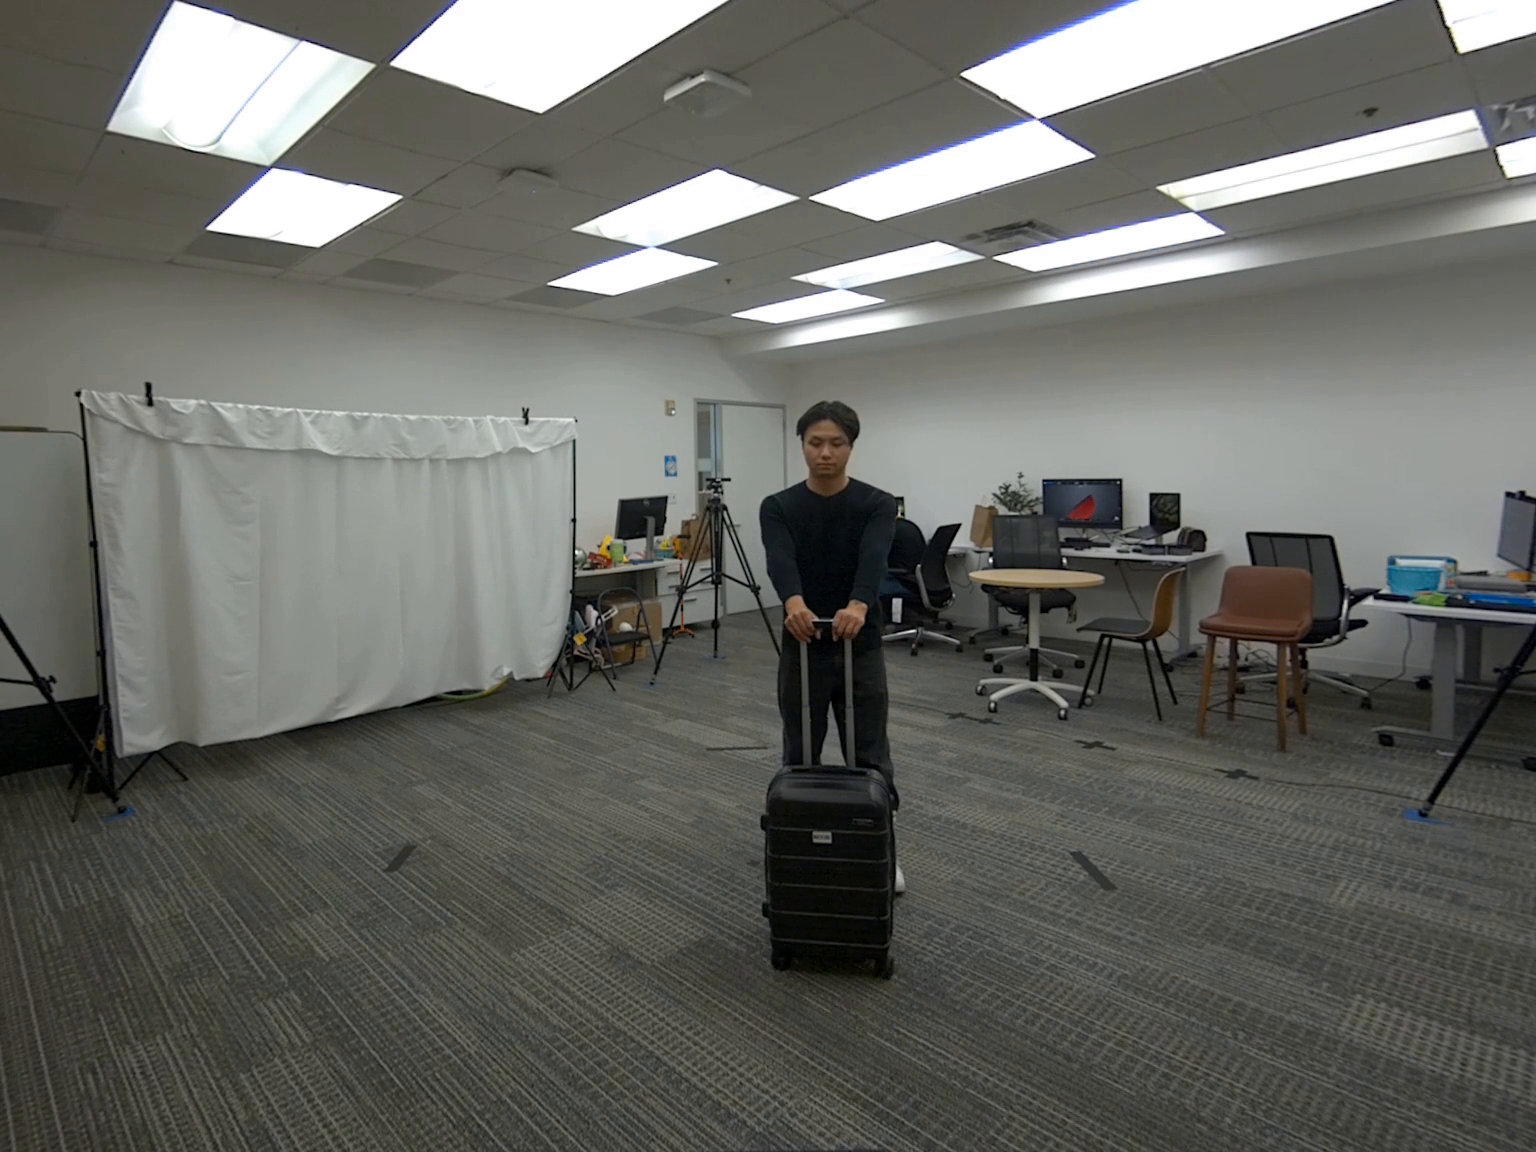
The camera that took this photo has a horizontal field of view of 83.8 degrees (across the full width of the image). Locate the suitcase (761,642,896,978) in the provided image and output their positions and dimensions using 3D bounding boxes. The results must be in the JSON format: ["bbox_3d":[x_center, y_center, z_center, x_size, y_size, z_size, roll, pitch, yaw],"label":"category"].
[{"bbox_3d":[0.174,0.641,2.455,0.388,0.971,0.256,-1,8,10],"label":"suitcase"}]
